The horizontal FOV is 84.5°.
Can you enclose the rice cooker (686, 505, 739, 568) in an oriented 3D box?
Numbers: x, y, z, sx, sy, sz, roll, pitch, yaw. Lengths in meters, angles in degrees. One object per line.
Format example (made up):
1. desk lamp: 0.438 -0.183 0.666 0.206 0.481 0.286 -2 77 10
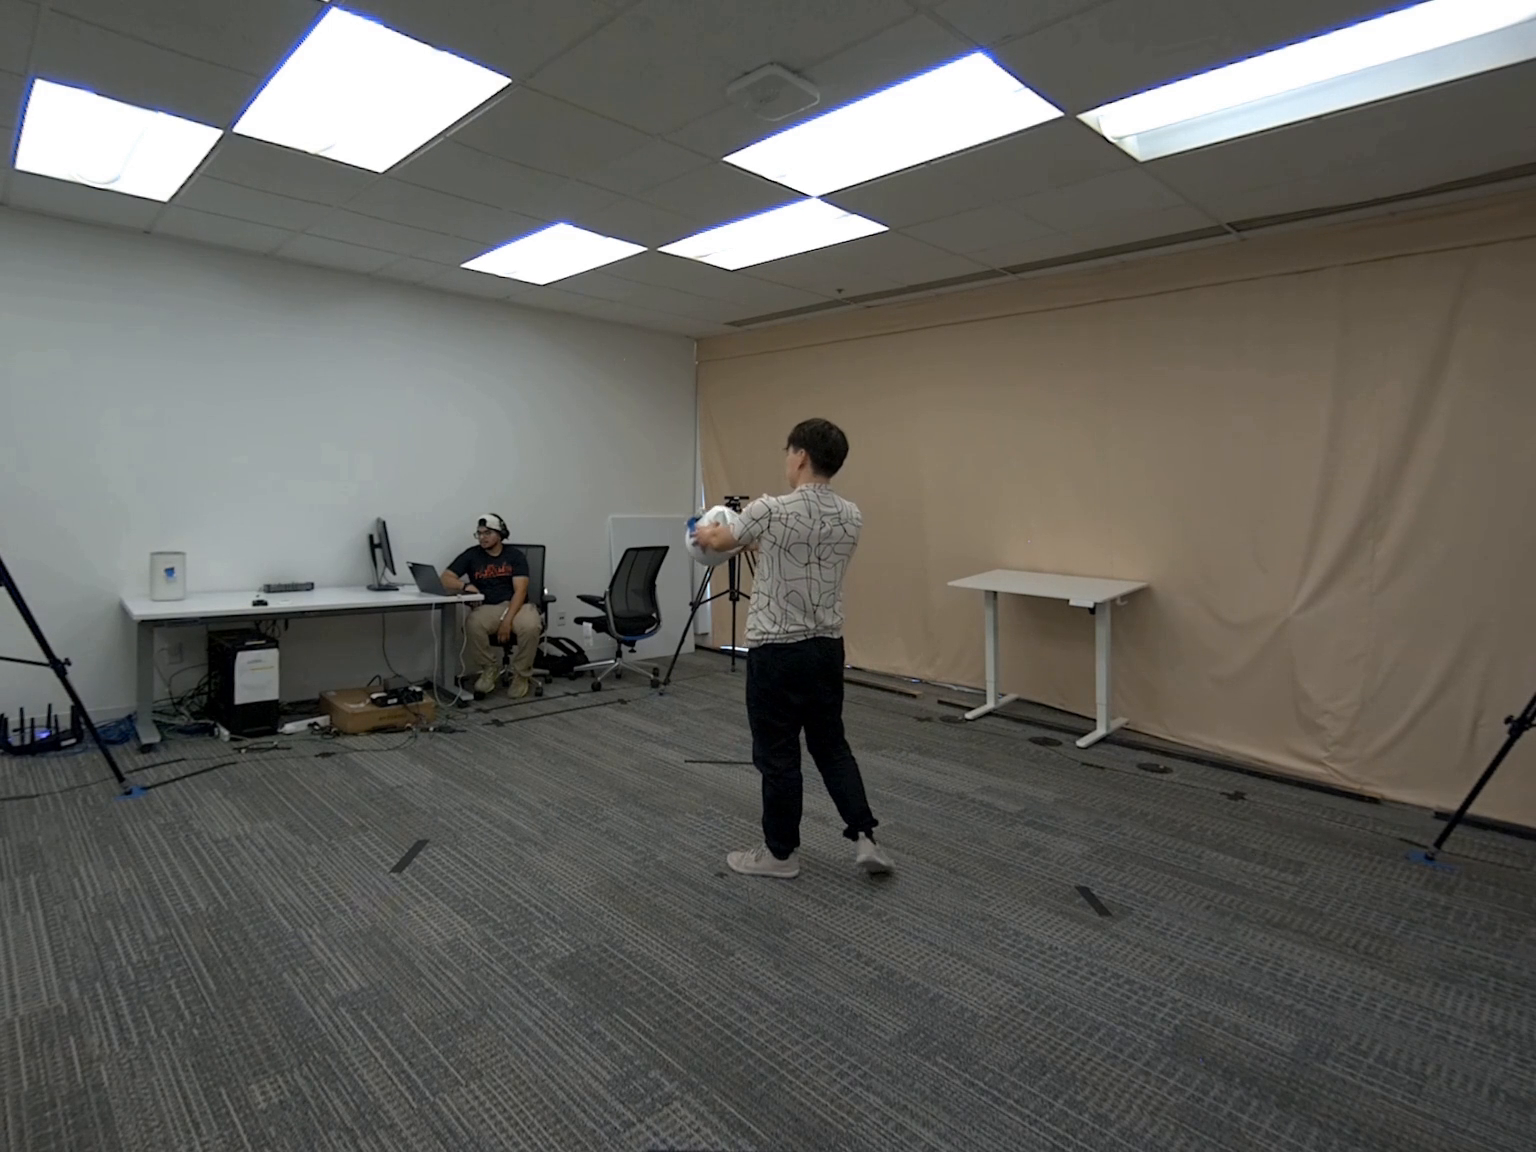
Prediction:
1. rice cooker: -0.212 -0.164 3.523 0.212 0.225 0.234 3 -26 -34
